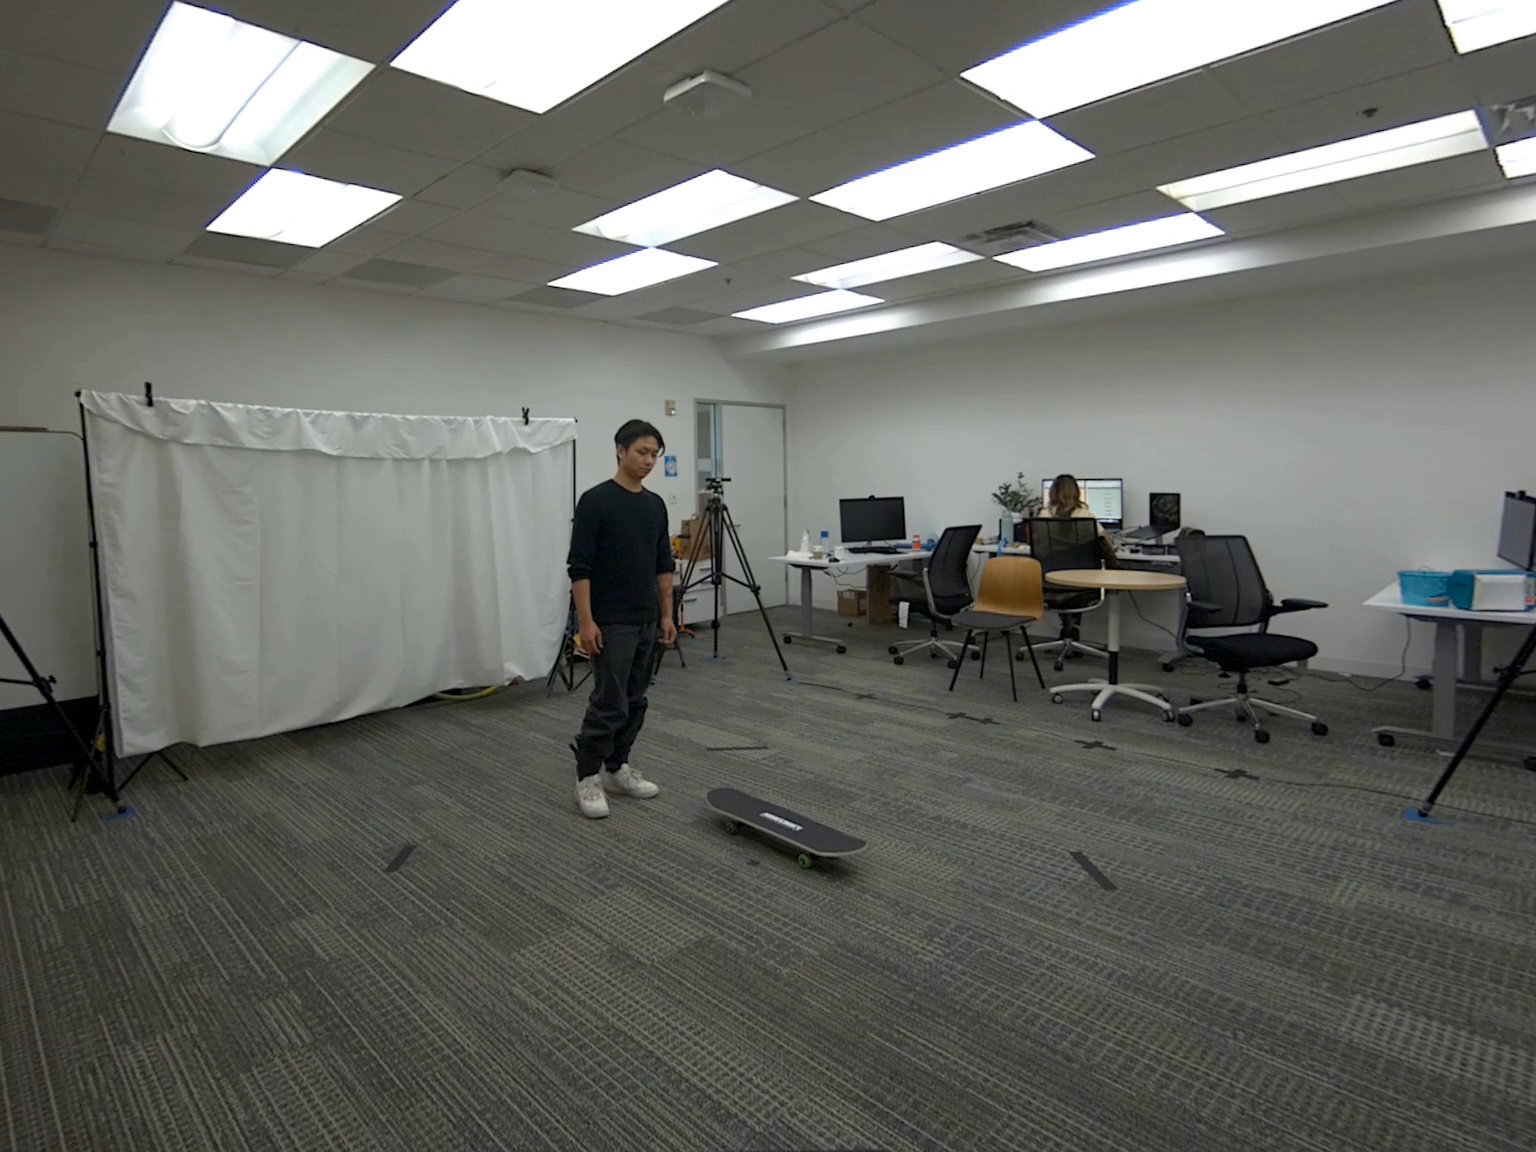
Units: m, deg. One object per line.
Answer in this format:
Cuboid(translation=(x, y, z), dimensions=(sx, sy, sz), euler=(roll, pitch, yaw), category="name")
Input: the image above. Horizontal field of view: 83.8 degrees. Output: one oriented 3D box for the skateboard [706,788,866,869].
Cuboid(translation=(0.055, 0.968, 3.252), dimensions=(0.188, 0.110, 0.810), euler=(-6, 8, -42), category="skateboard")
